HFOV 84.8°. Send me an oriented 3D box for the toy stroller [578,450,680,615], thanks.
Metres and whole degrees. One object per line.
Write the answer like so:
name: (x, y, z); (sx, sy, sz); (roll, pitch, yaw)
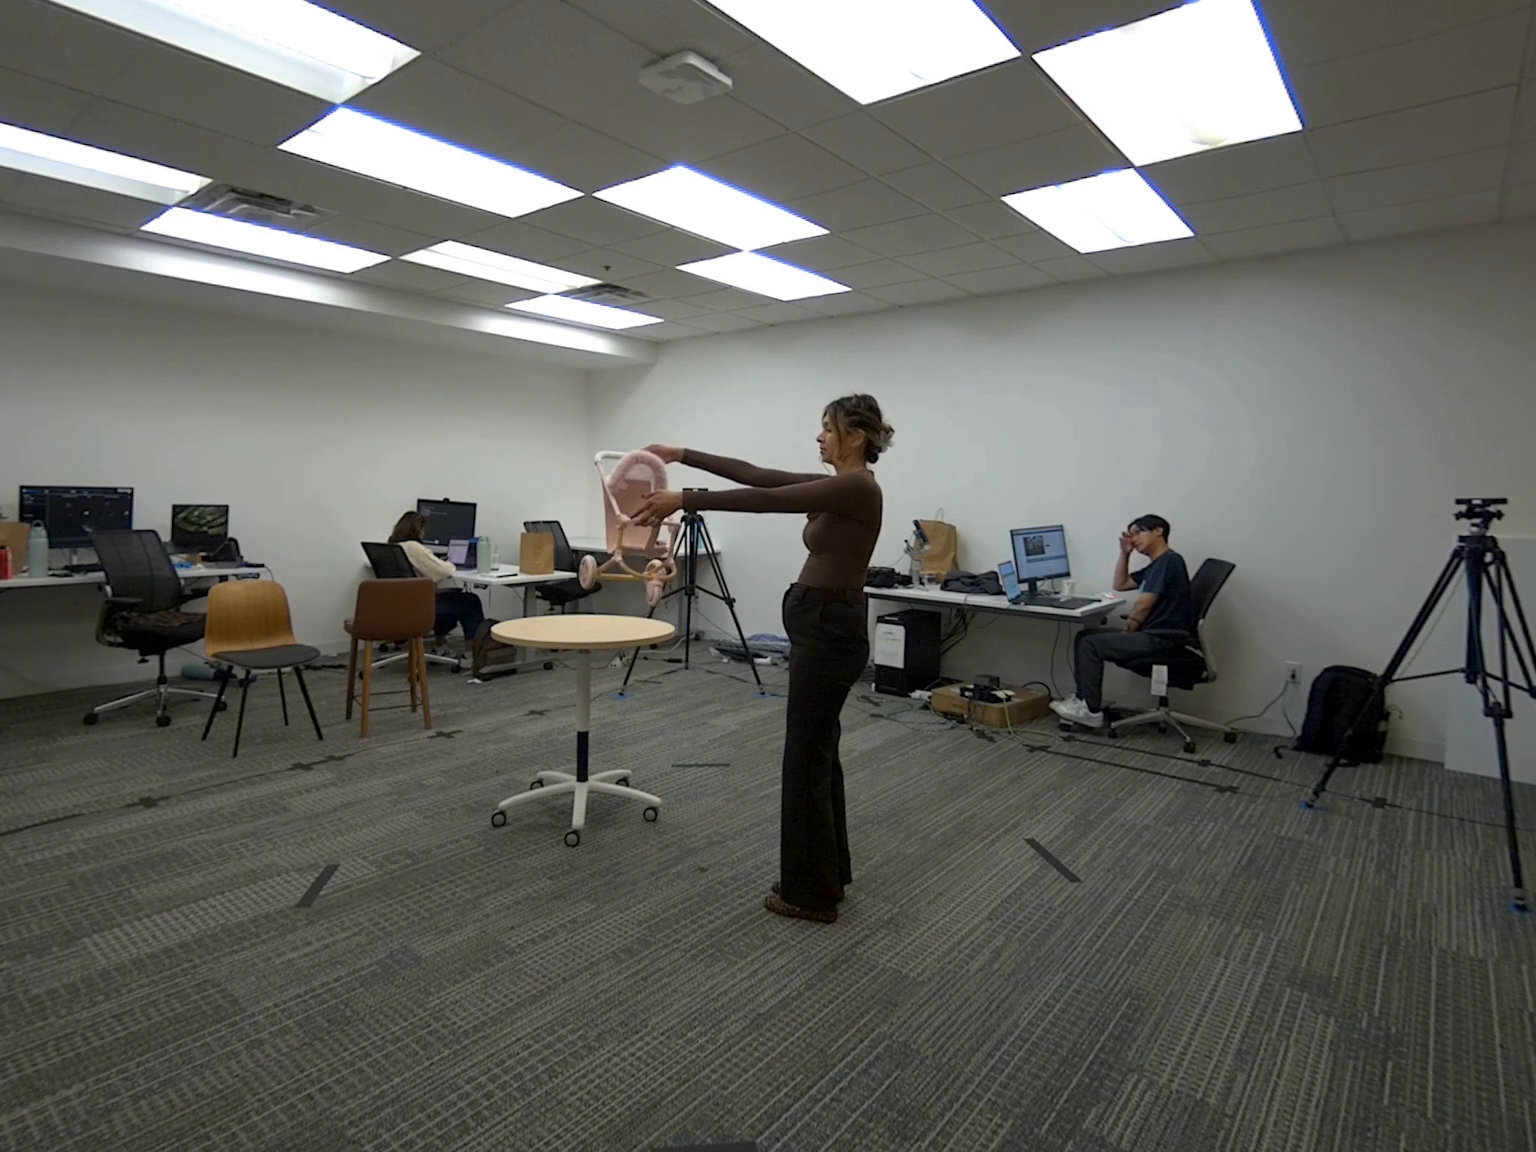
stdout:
toy stroller: (-0.438, -0.161, 2.767); (0.273, 0.538, 0.349); (4, -7, -29)
